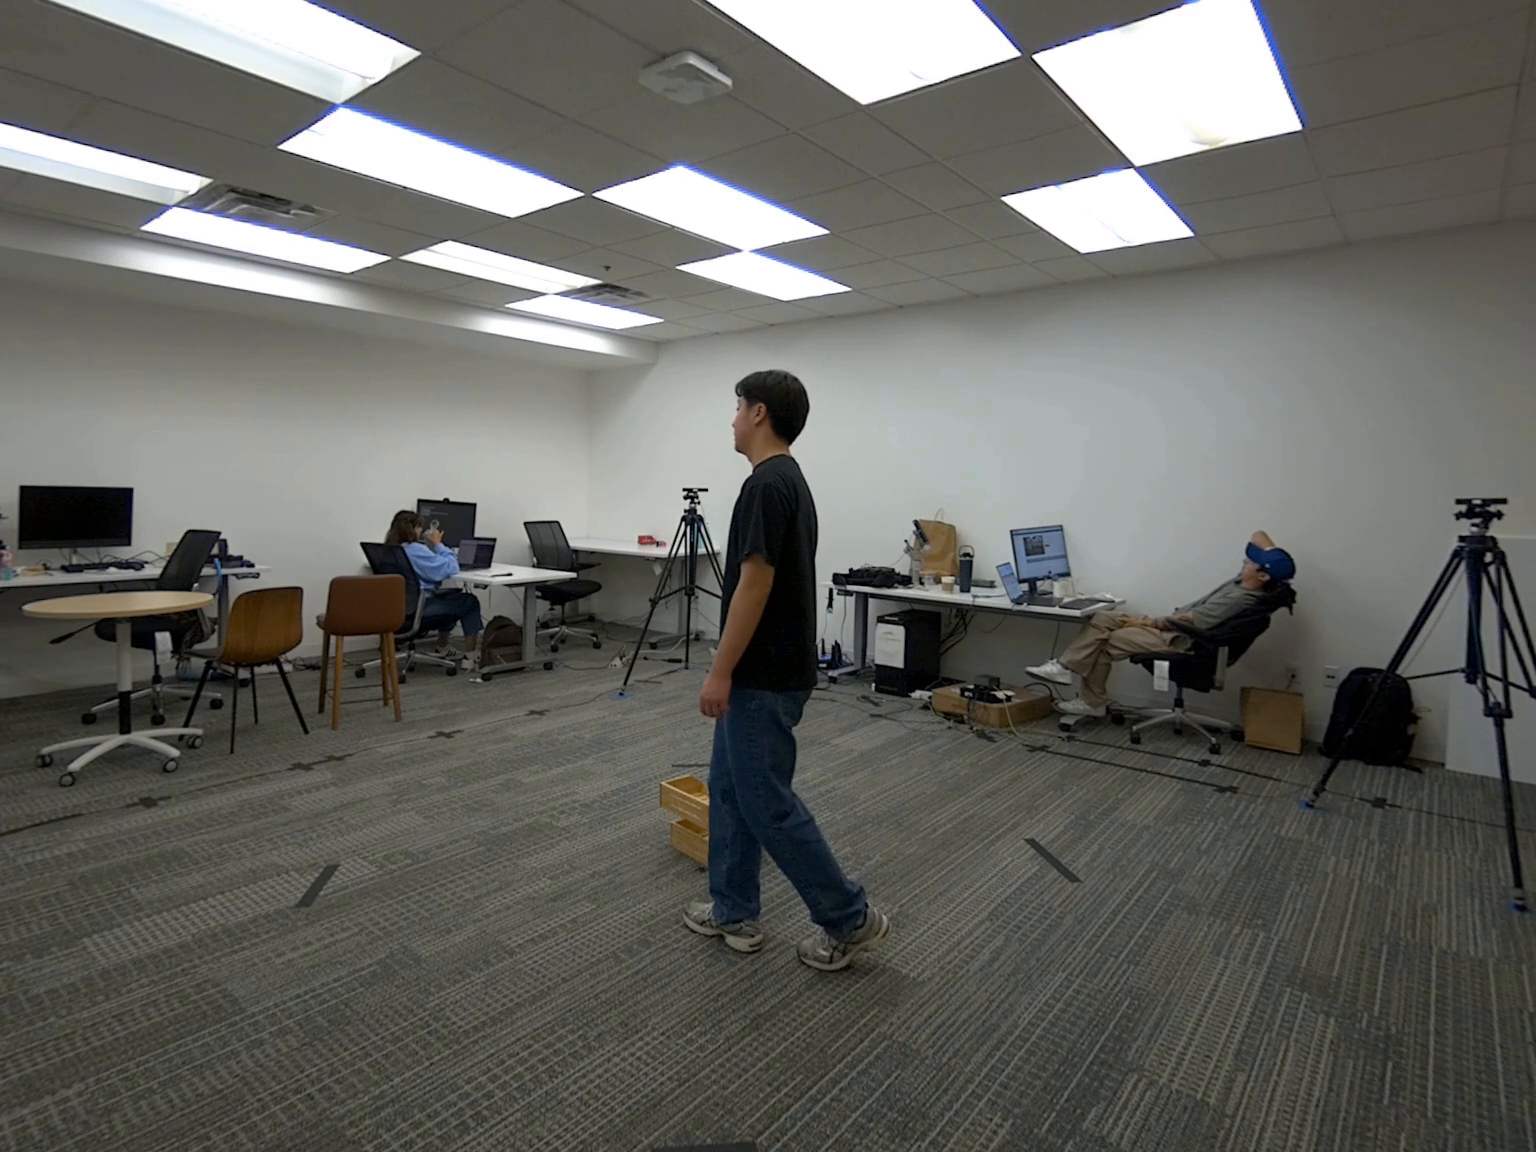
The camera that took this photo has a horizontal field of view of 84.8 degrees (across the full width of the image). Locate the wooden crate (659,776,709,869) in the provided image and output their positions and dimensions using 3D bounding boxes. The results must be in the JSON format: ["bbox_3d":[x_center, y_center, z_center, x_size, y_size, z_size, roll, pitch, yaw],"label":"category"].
[{"bbox_3d":[-0.216,0.920,3.255,0.293,0.272,0.335,-3,6,-41],"label":"wooden crate"}]
